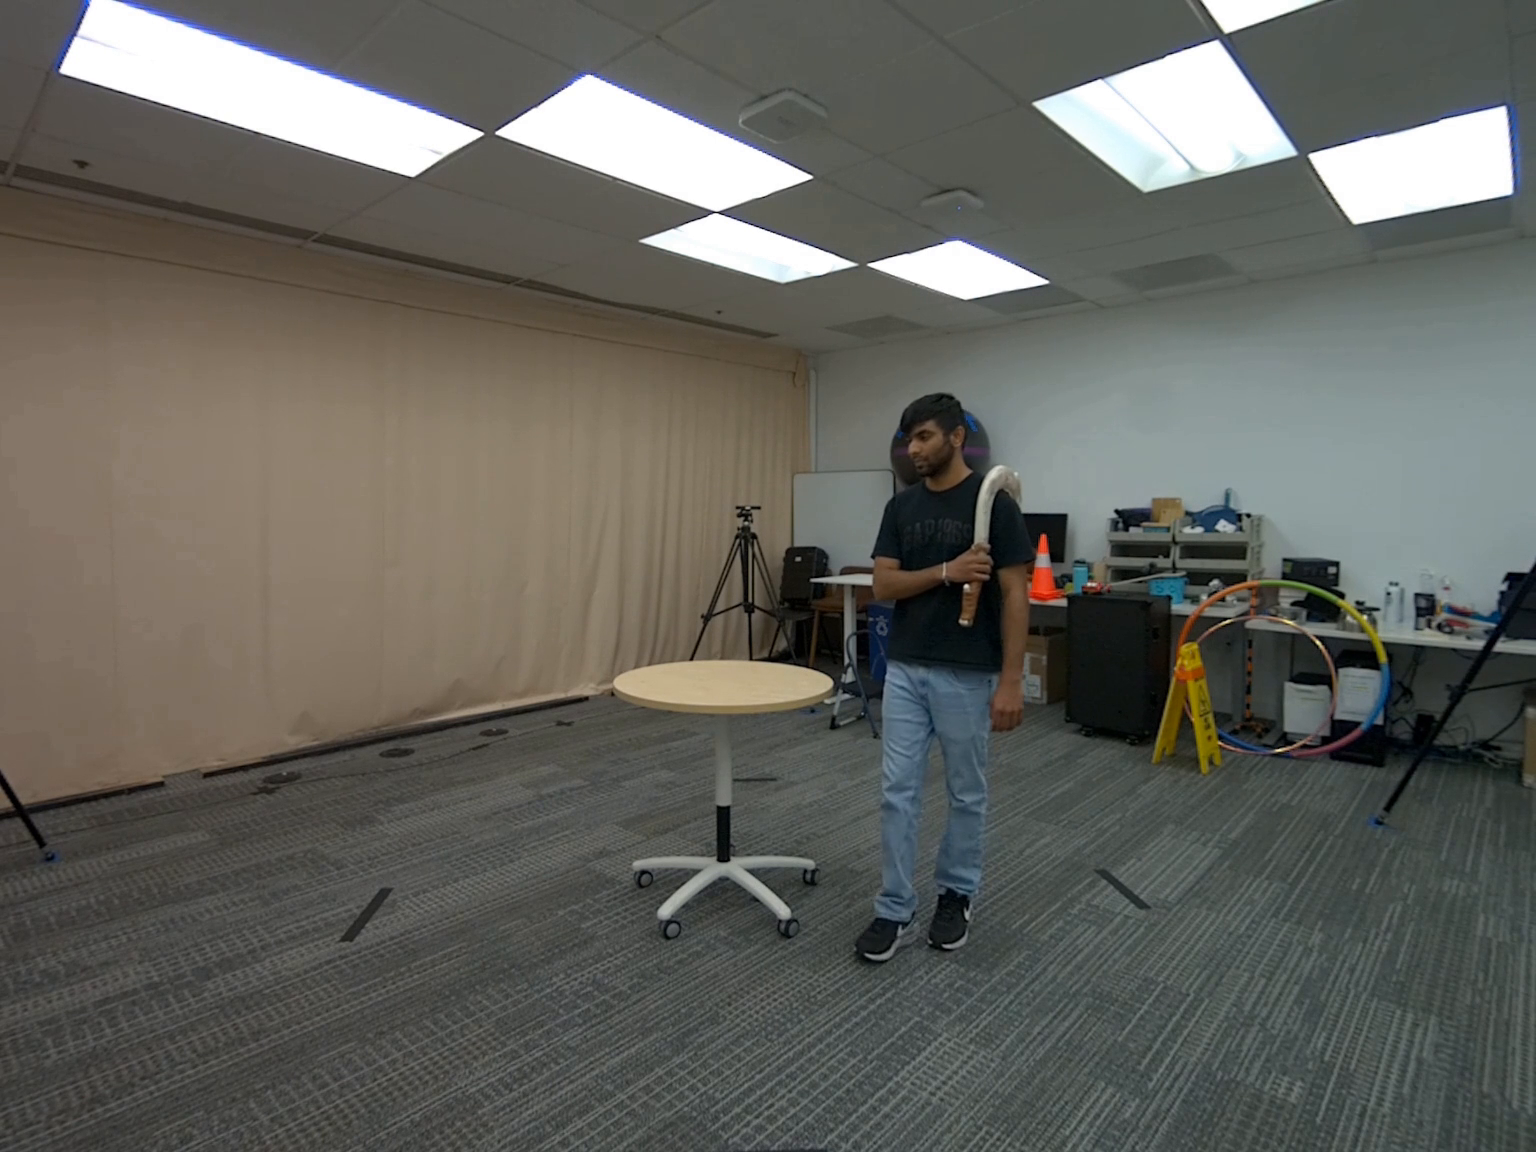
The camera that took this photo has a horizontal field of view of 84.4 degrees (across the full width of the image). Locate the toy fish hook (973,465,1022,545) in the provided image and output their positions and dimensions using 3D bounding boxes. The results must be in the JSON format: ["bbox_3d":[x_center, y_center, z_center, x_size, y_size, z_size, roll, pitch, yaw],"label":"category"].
[{"bbox_3d":[0.678,-0.081,2.571,0.217,0.507,0.050,18,-5,-36],"label":"toy fish hook"}]
